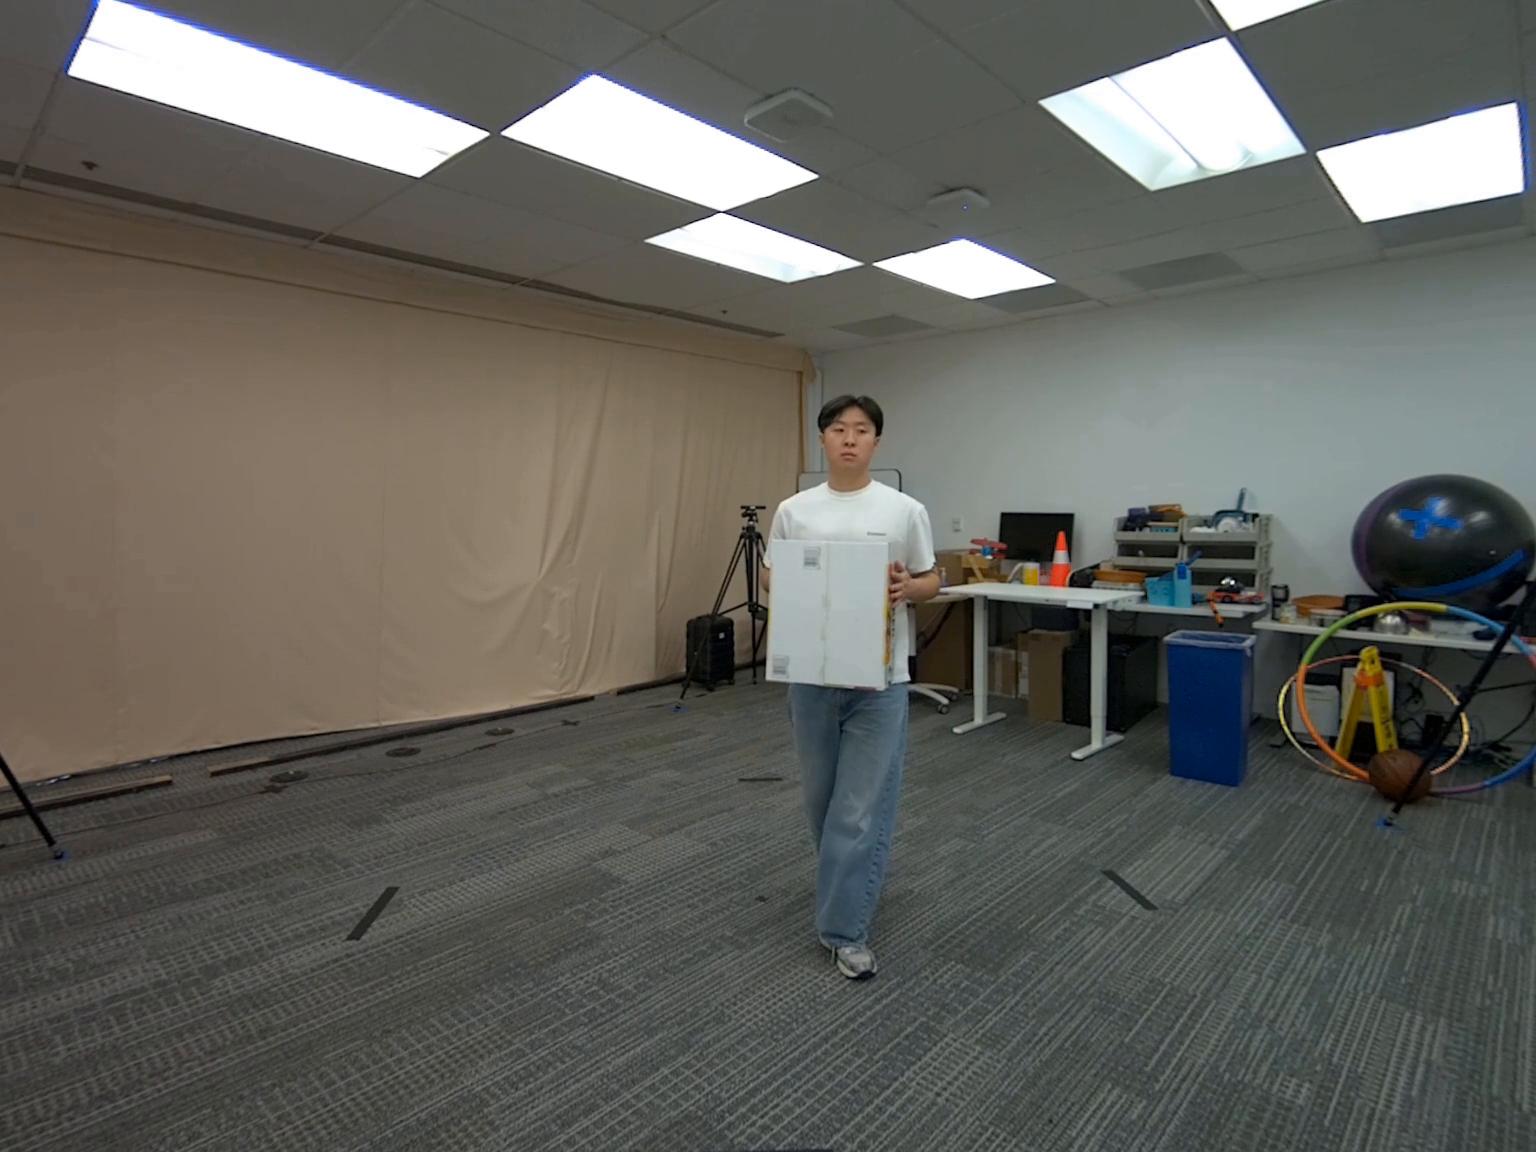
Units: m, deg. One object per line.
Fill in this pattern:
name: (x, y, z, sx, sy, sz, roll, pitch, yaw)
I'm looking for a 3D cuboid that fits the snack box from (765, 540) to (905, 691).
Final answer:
snack box: (0.190, 0.099, 2.445, 0.347, 0.405, 0.201, 1, 0, 18)
